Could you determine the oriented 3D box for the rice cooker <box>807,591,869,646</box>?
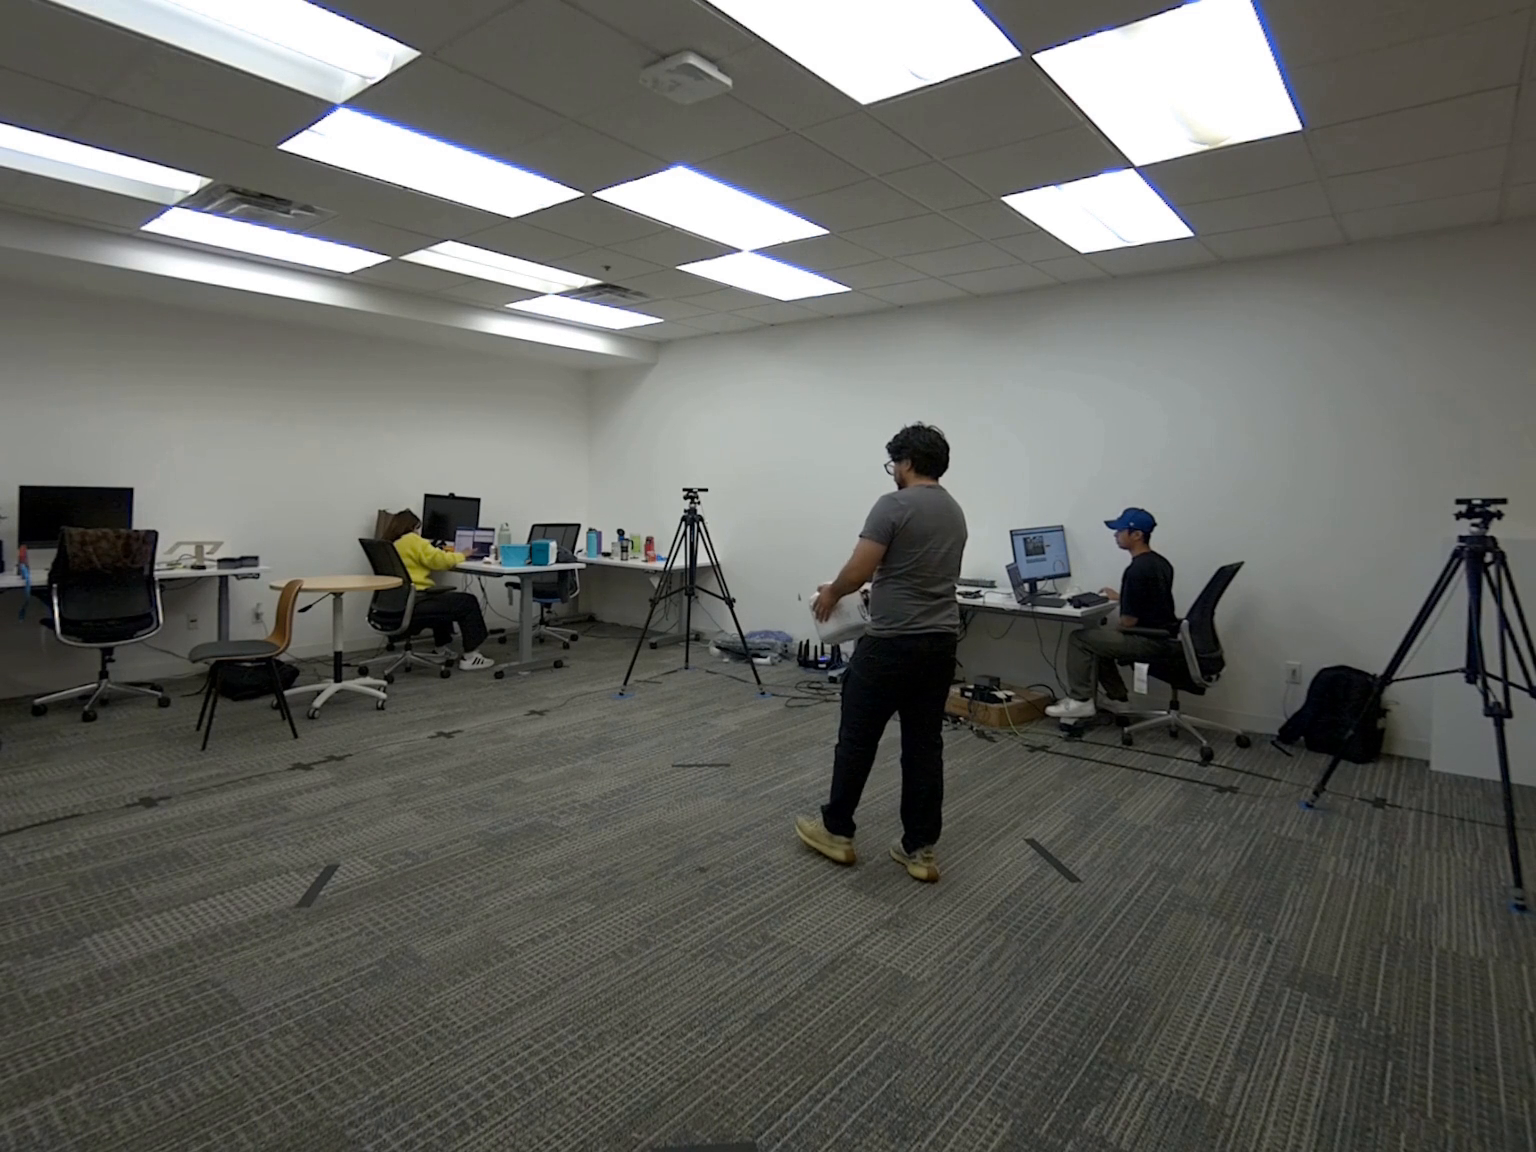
[{"bbox_3d":[0.281,0.138,3.430,0.220,0.238,0.213,-28,-21,33],"label":"rice cooker"}]
